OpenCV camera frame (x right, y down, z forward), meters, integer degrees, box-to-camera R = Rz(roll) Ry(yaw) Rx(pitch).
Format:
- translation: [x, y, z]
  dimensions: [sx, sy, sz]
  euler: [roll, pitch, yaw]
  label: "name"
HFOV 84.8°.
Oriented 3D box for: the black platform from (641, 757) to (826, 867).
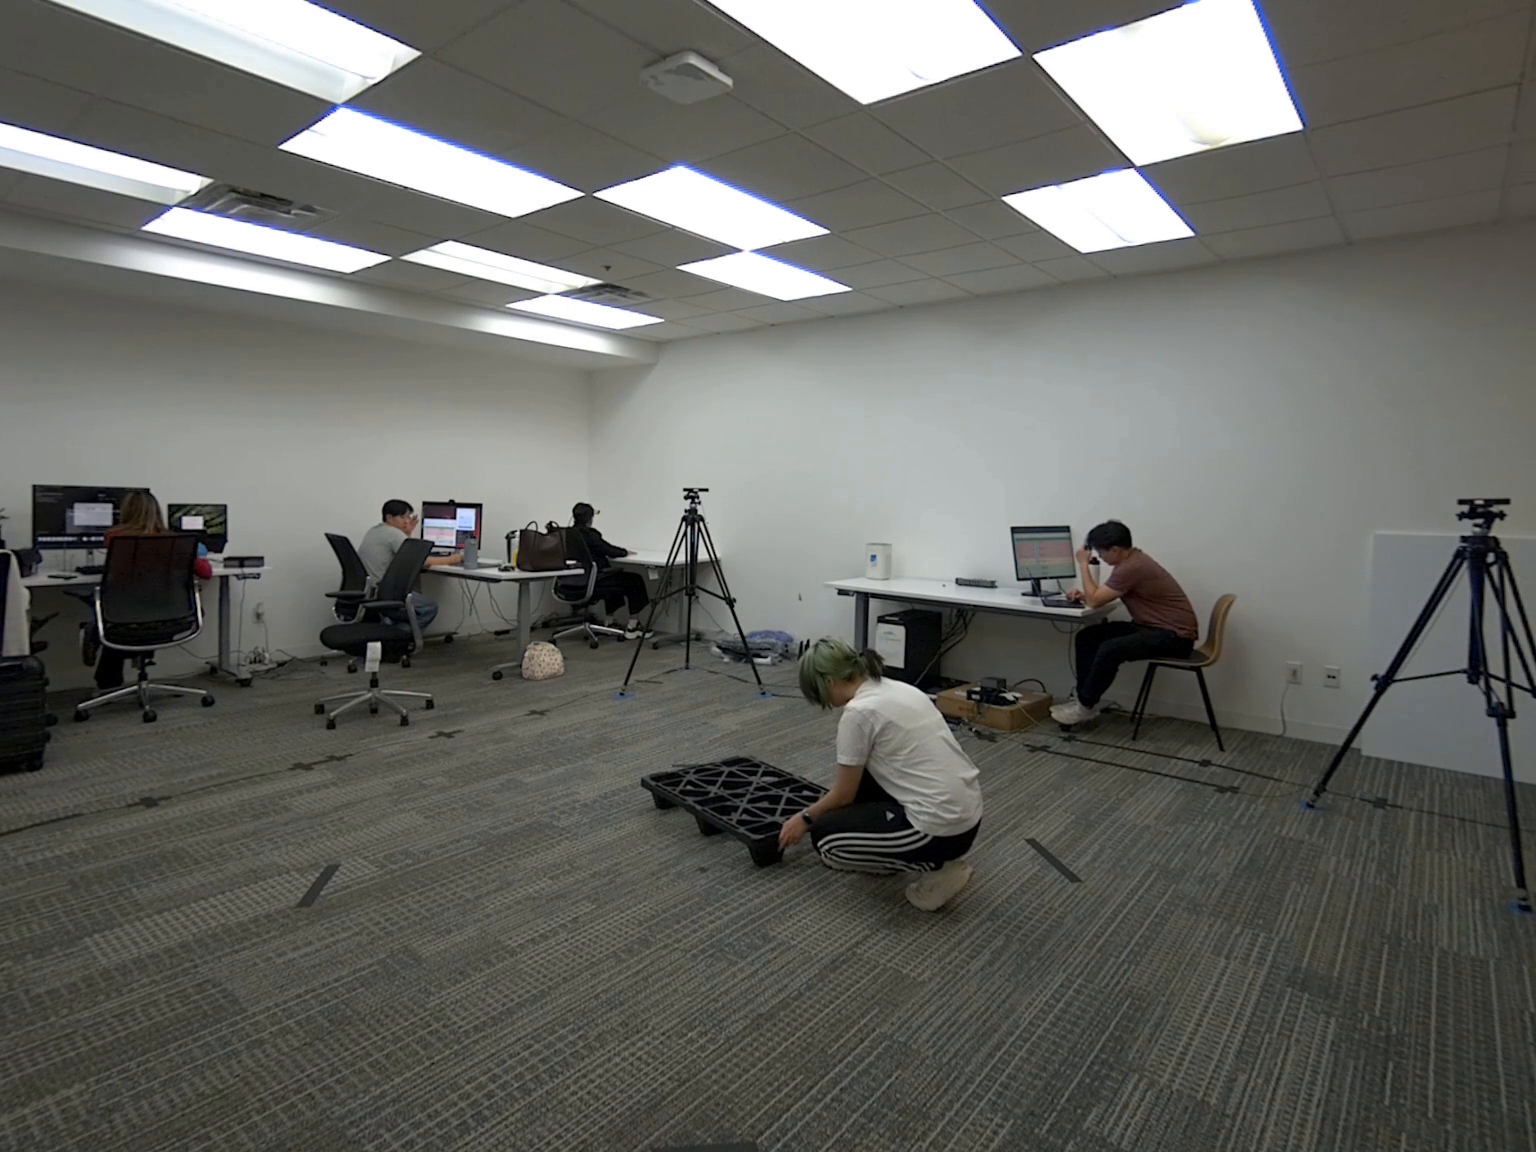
- translation: [-0.089, 0.964, 3.558]
  dimensions: [0.587, 0.143, 0.833]
  euler: [-4, 7, -38]
  label: "black platform"
